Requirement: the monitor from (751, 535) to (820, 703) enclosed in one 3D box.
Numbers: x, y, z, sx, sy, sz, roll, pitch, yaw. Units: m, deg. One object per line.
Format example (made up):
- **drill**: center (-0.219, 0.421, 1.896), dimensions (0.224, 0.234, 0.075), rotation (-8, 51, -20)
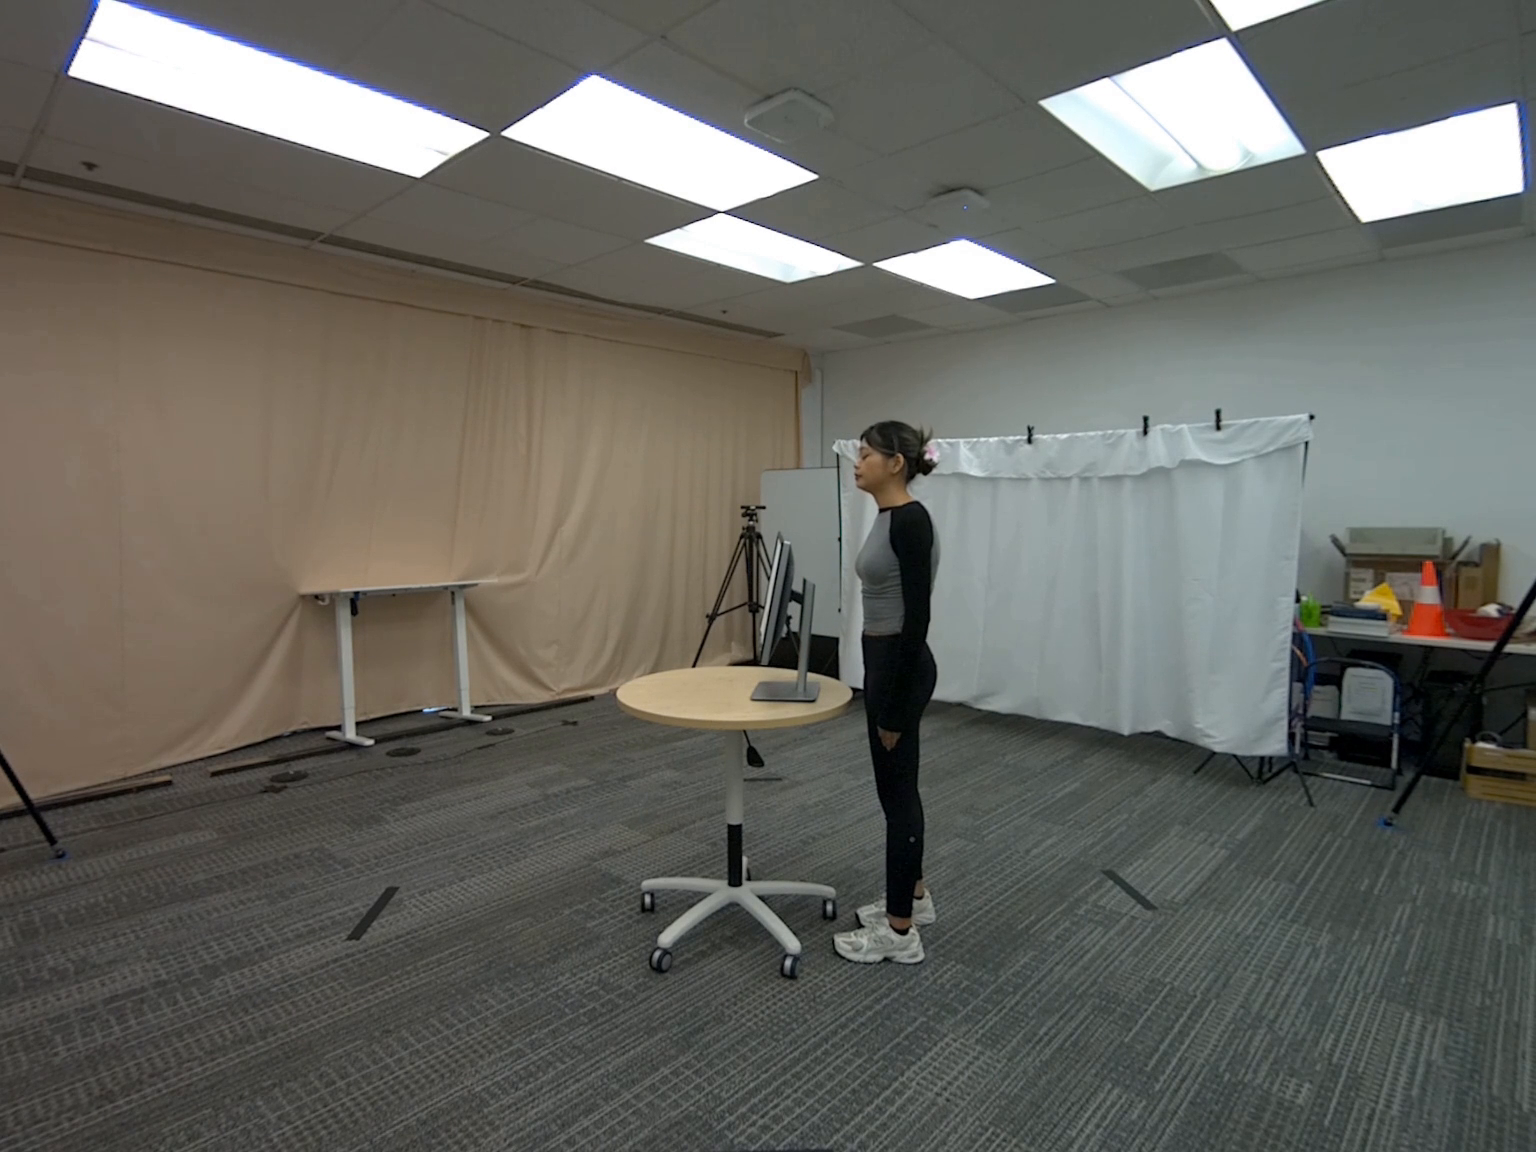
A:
- **monitor**: center (0.065, 0.131, 2.694), dimensions (0.187, 0.521, 0.541), rotation (-1, 5, -2)
